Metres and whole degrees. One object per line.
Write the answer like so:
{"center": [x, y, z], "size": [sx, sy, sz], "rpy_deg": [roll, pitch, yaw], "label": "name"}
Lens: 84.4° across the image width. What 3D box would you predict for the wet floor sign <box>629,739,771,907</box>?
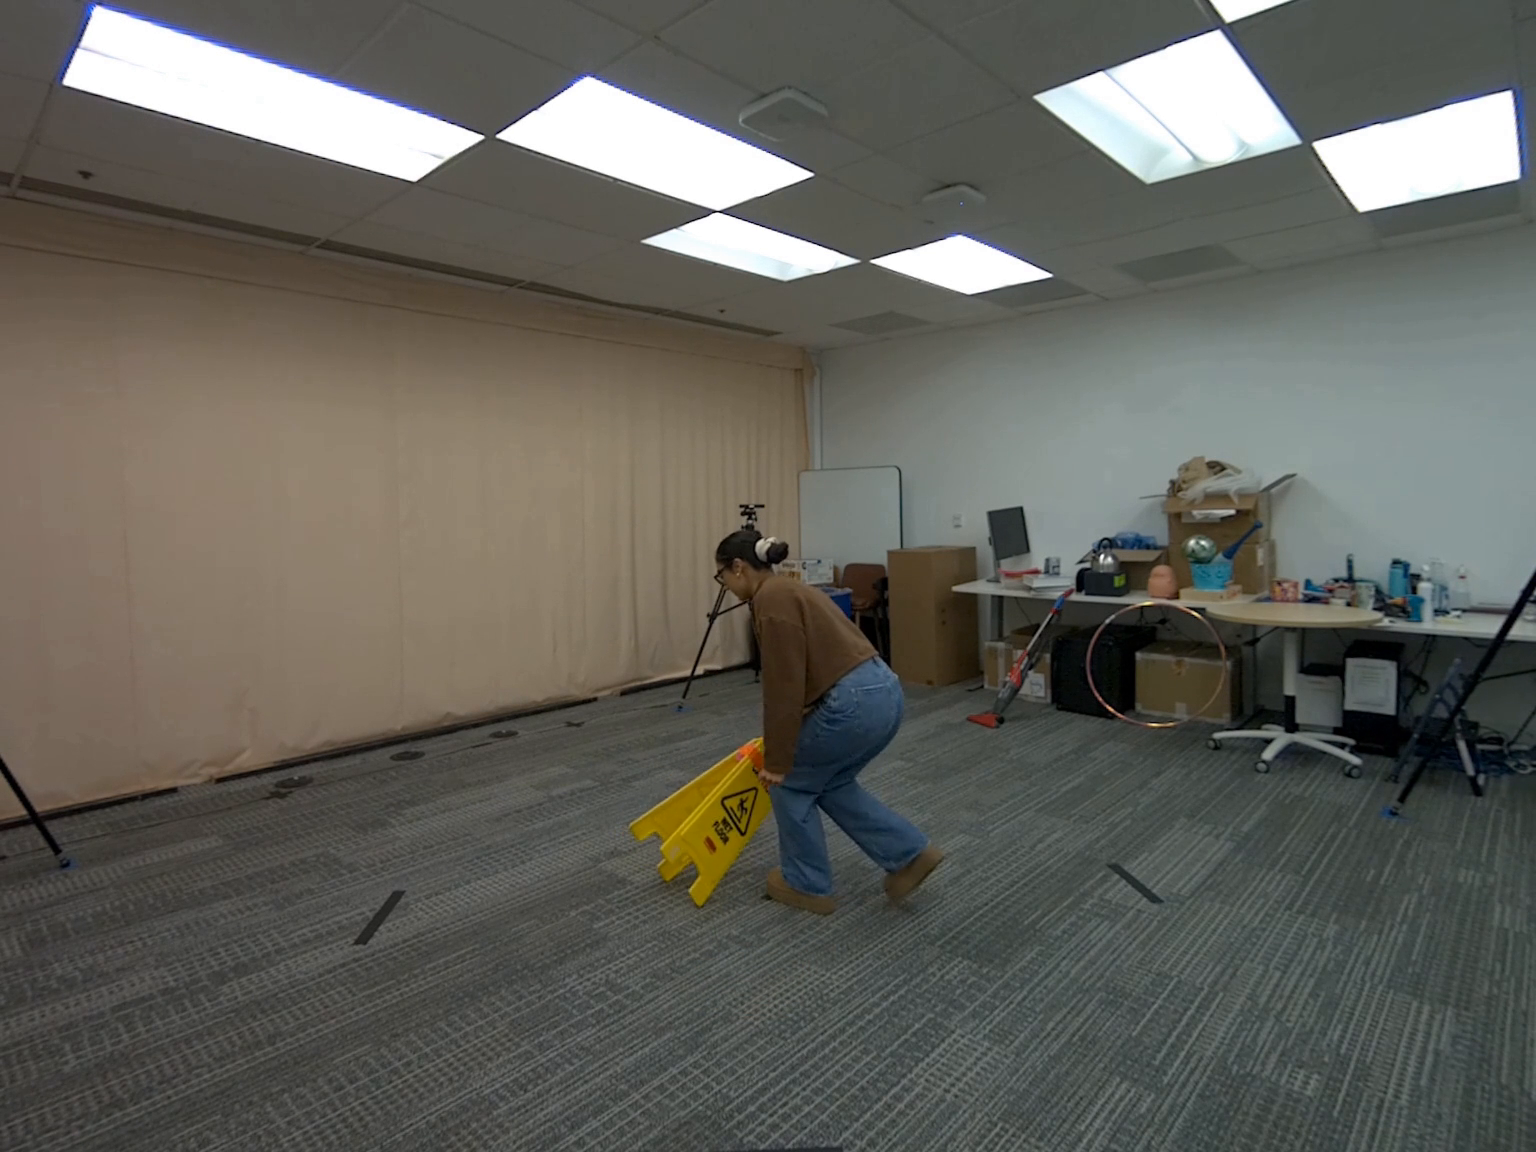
{"center": [-0.153, 0.846, 3.124], "size": [0.639, 0.277, 0.298], "rpy_deg": [-40, 21, -25], "label": "wet floor sign"}
